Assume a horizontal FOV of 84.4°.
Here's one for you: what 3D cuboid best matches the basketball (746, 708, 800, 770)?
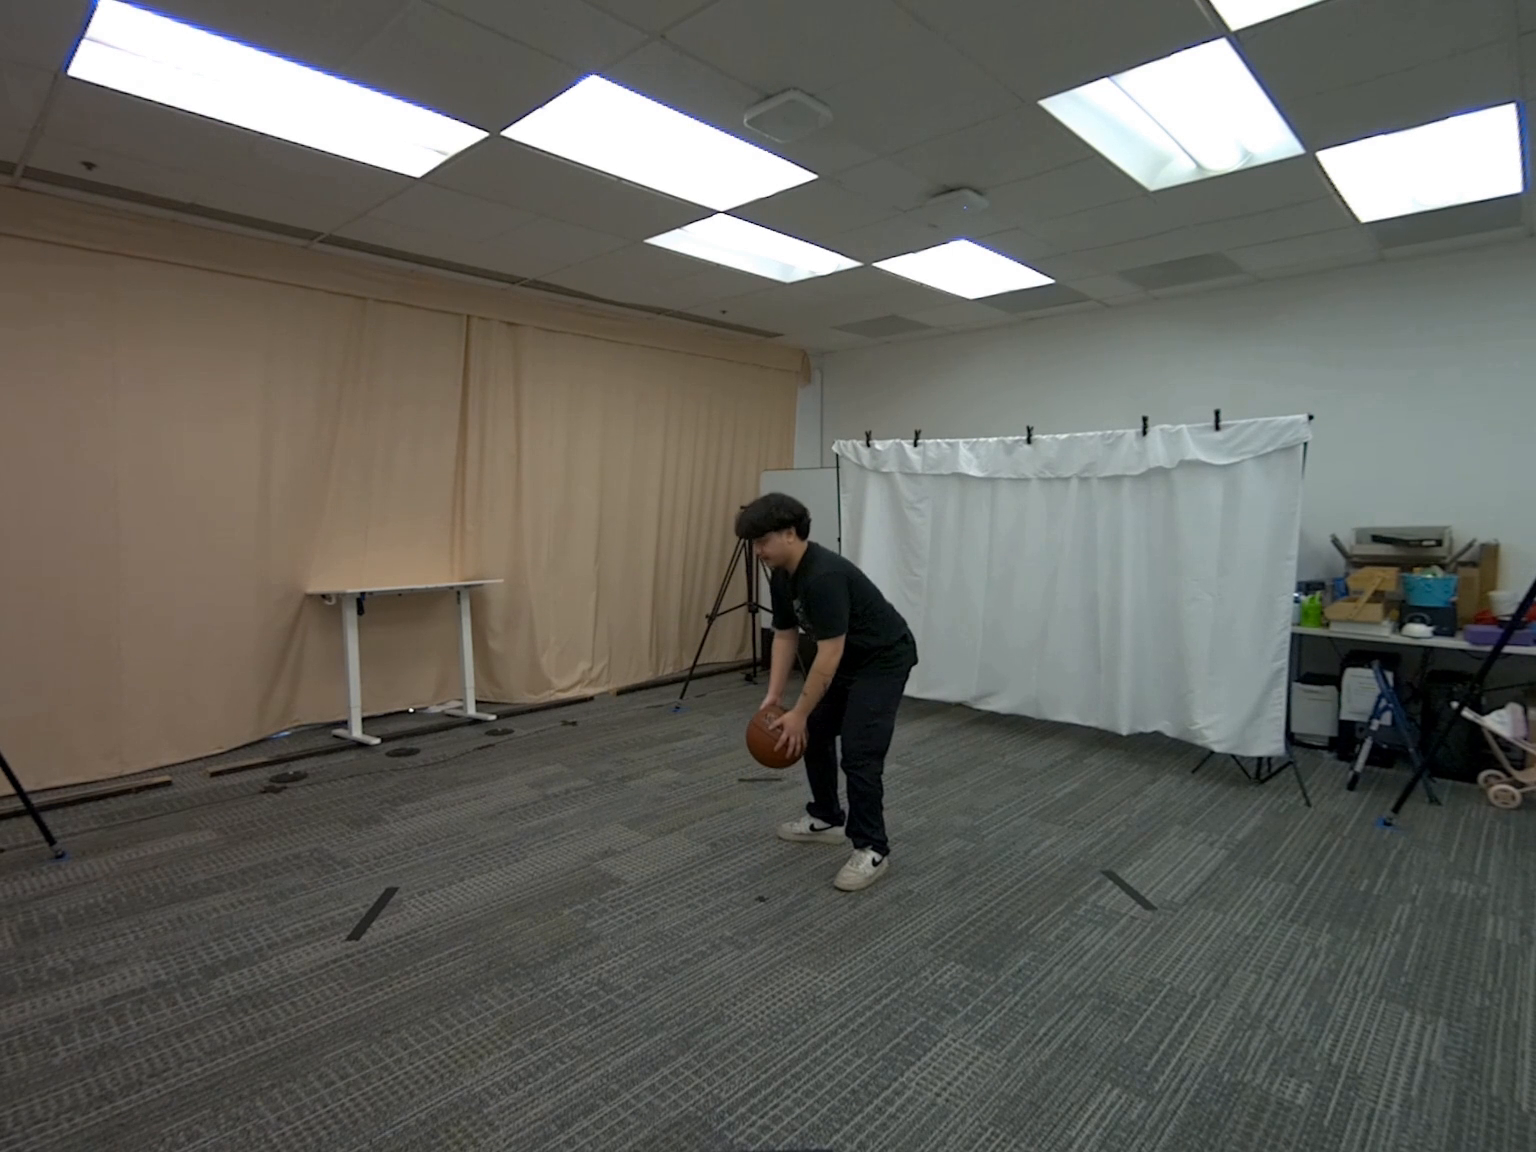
[{"bbox_3d":[0.042,0.619,3.231,0.236,0.235,0.237,0,4,-2],"label":"basketball"}]
